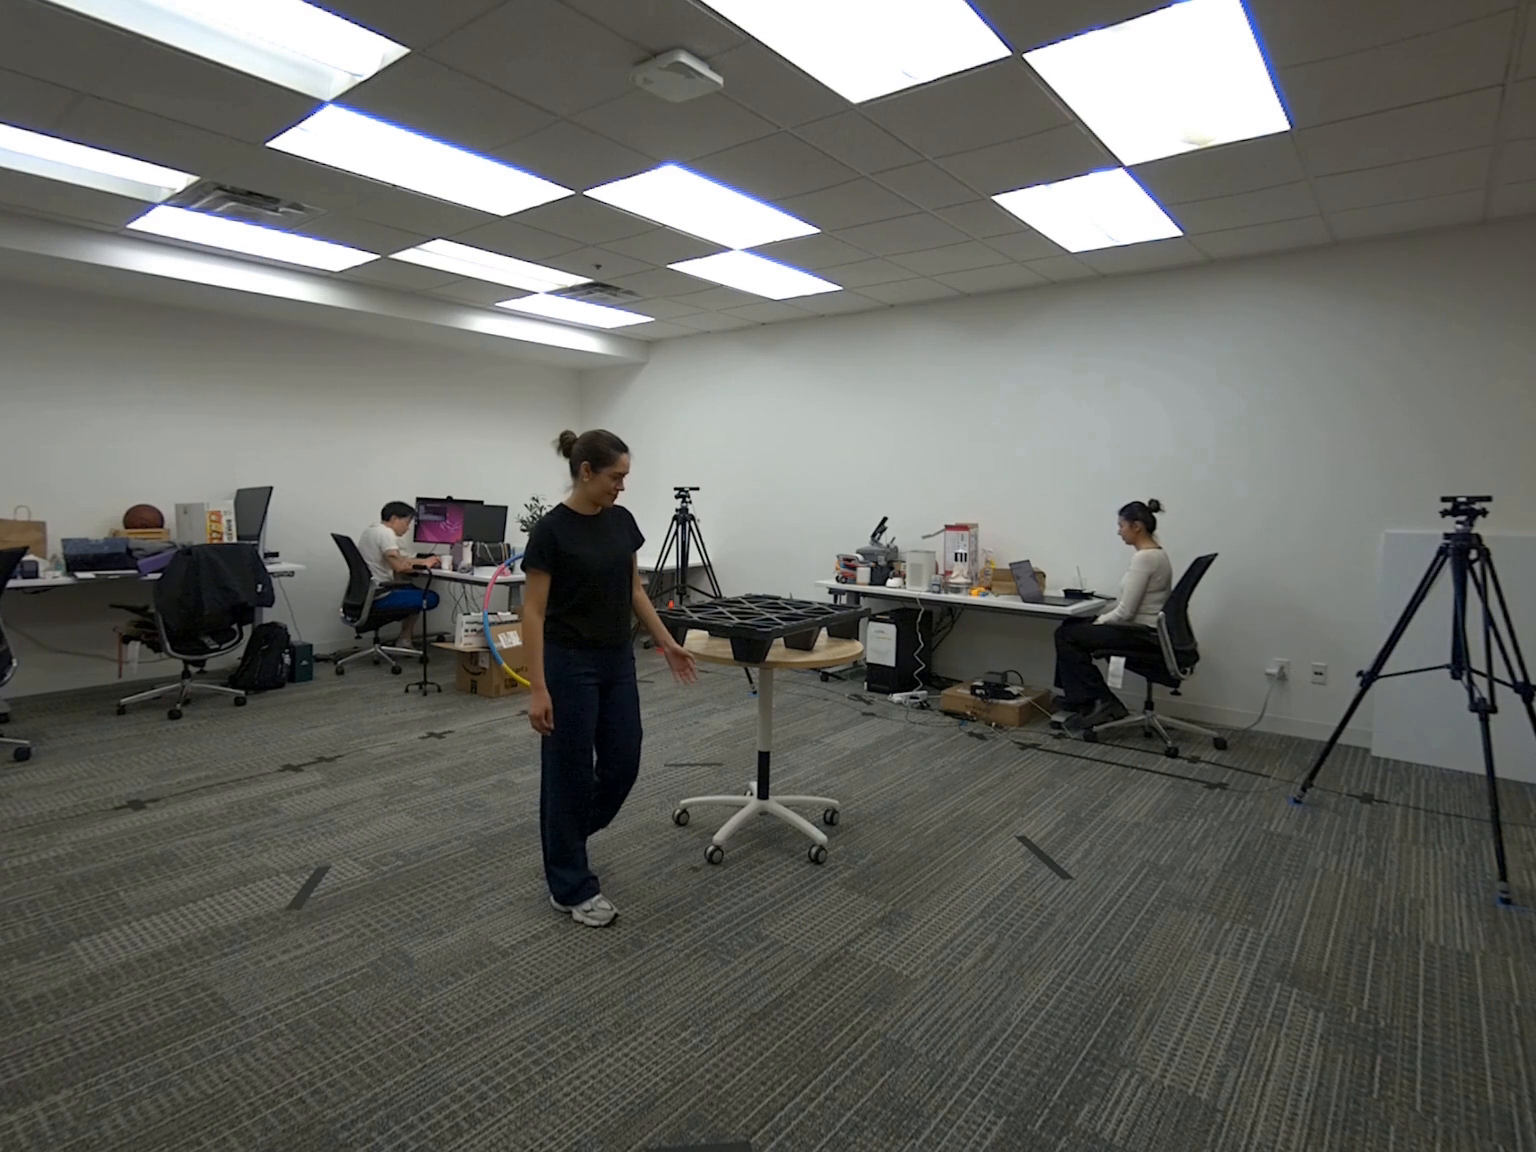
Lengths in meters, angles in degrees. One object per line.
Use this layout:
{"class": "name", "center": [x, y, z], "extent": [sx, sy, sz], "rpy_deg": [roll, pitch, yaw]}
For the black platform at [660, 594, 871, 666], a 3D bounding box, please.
{"class": "black platform", "center": [-0.009, 0.196, 3.400], "extent": [0.625, 0.142, 0.783], "rpy_deg": [6, 8, 36]}
